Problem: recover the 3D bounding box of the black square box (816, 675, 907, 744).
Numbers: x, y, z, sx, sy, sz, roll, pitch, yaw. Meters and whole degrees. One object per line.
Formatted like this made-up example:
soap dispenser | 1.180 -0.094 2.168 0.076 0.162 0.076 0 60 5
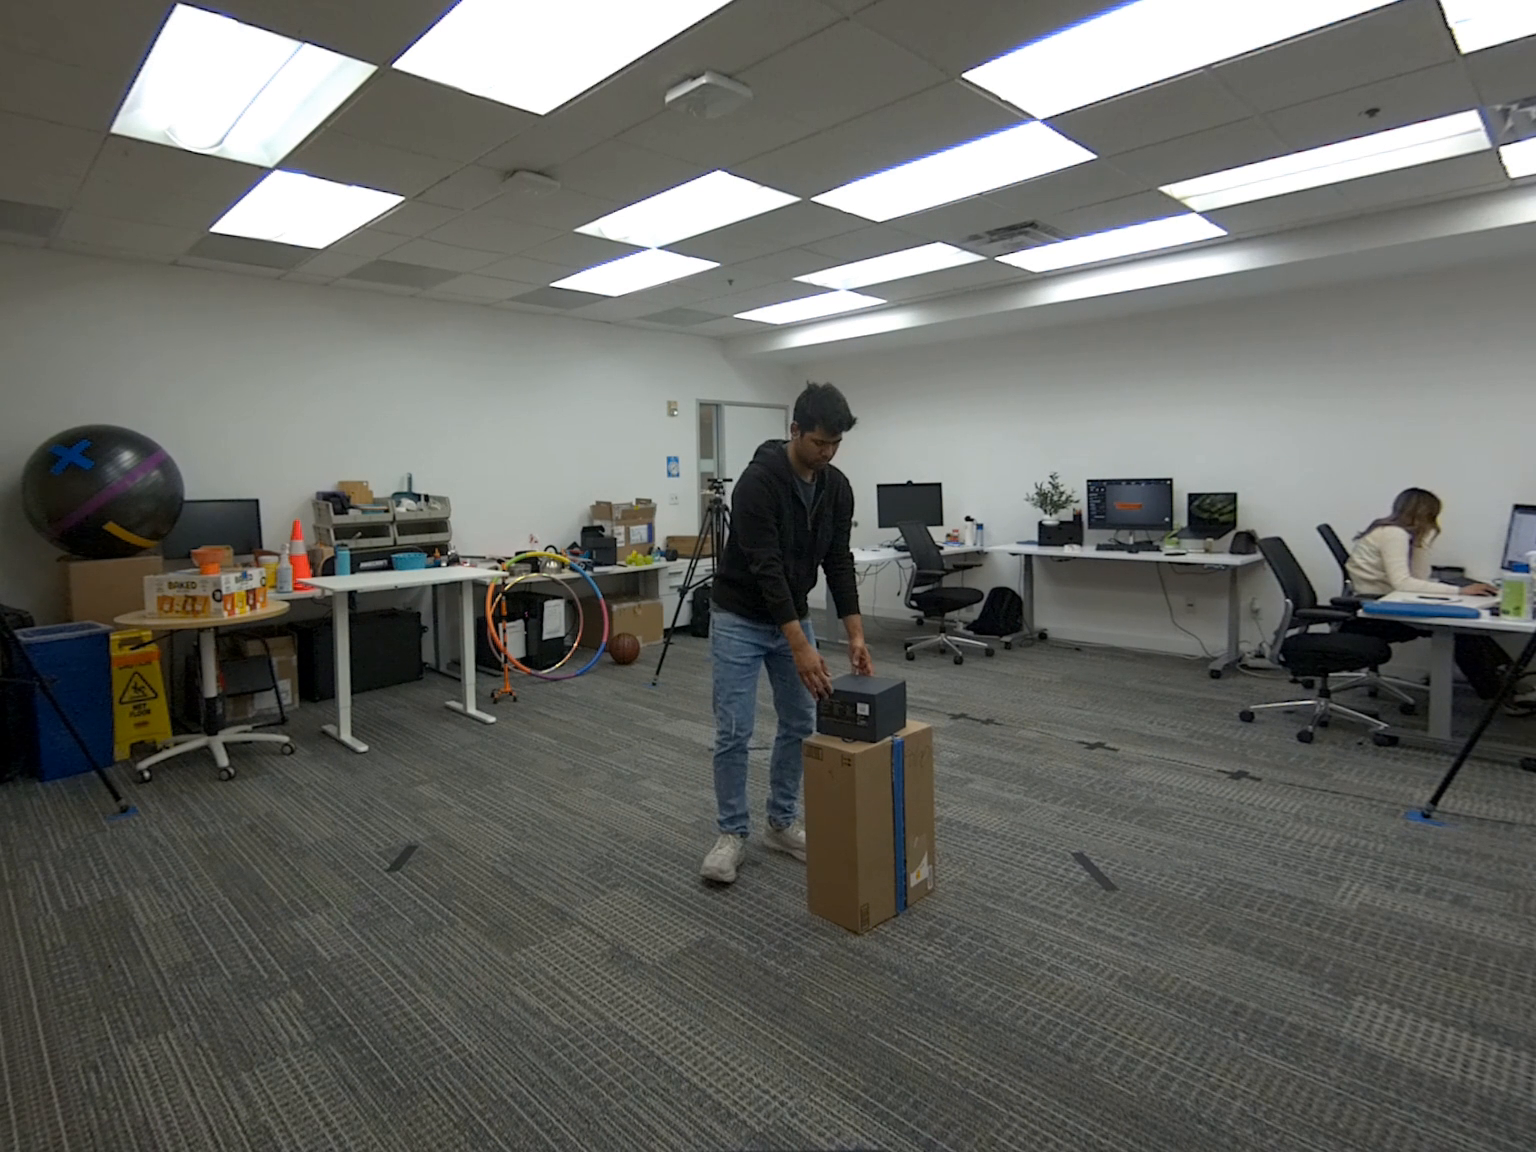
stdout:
black square box | 0.304 0.424 2.800 0.223 0.155 0.222 3 6 36
